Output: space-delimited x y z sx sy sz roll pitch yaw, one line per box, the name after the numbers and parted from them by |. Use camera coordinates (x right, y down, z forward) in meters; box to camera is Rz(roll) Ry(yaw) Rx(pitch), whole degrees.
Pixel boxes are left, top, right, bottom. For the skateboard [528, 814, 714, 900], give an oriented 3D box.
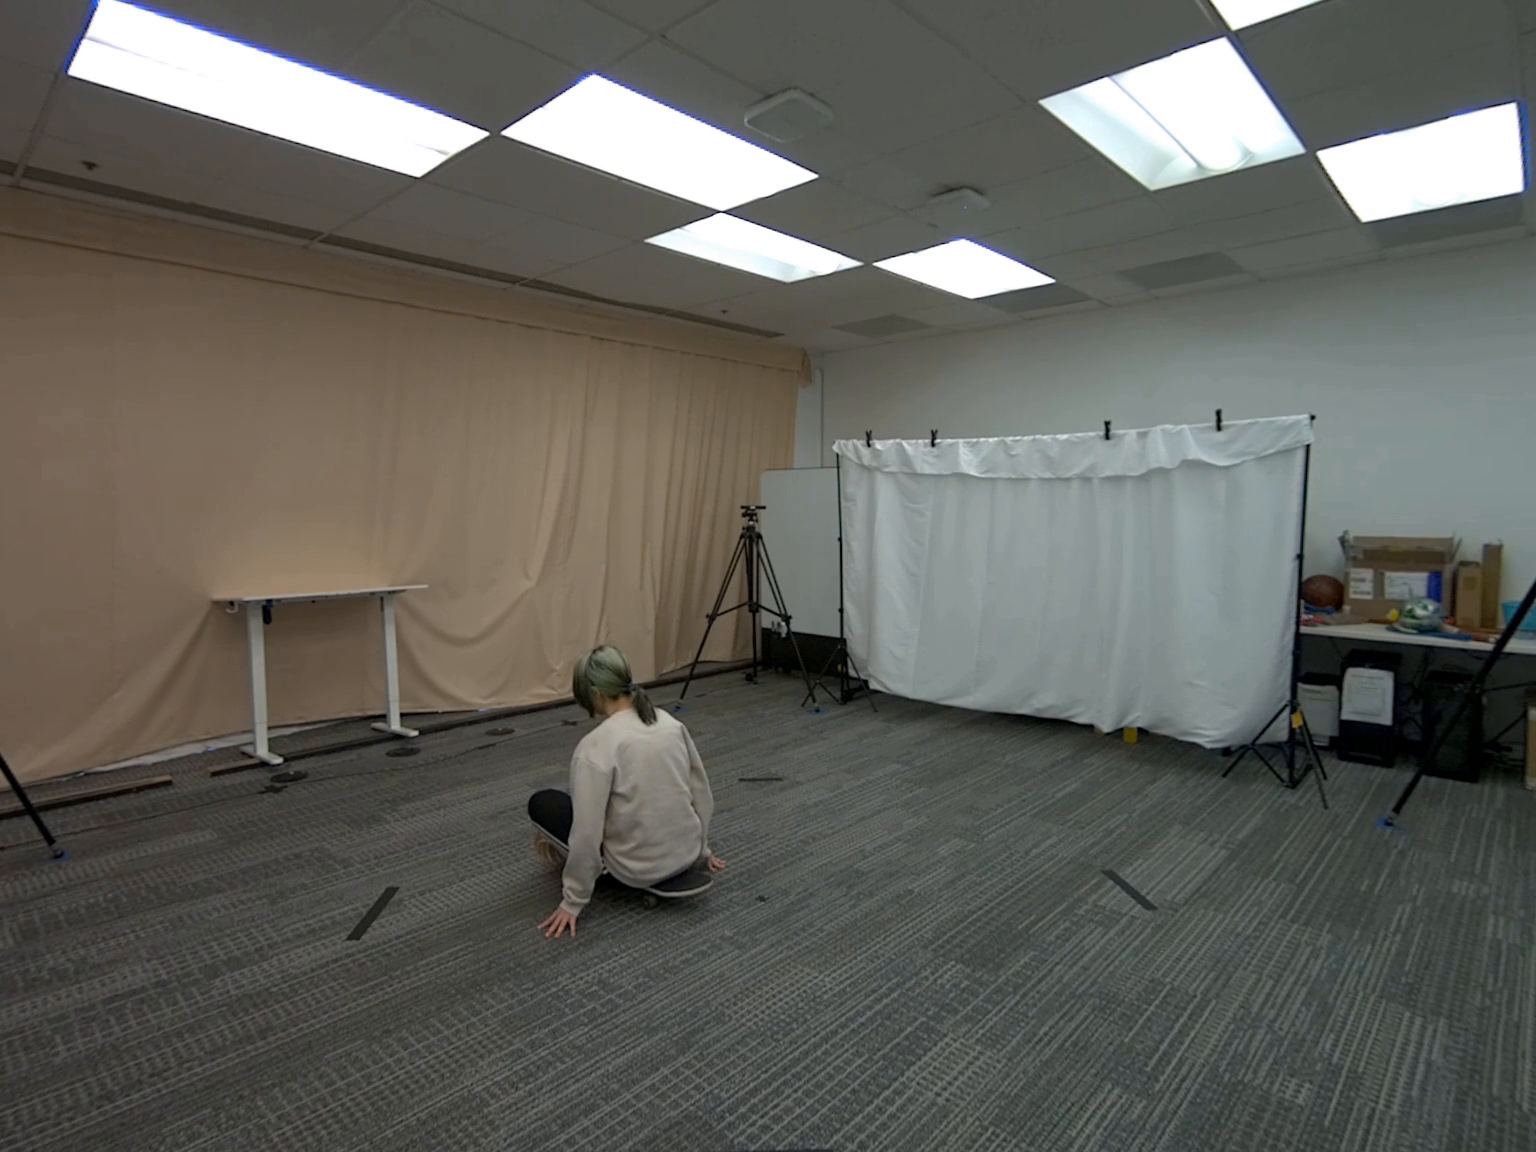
-0.533 1.083 3.112 0.810 0.110 0.188 4 9 33 | skateboard
